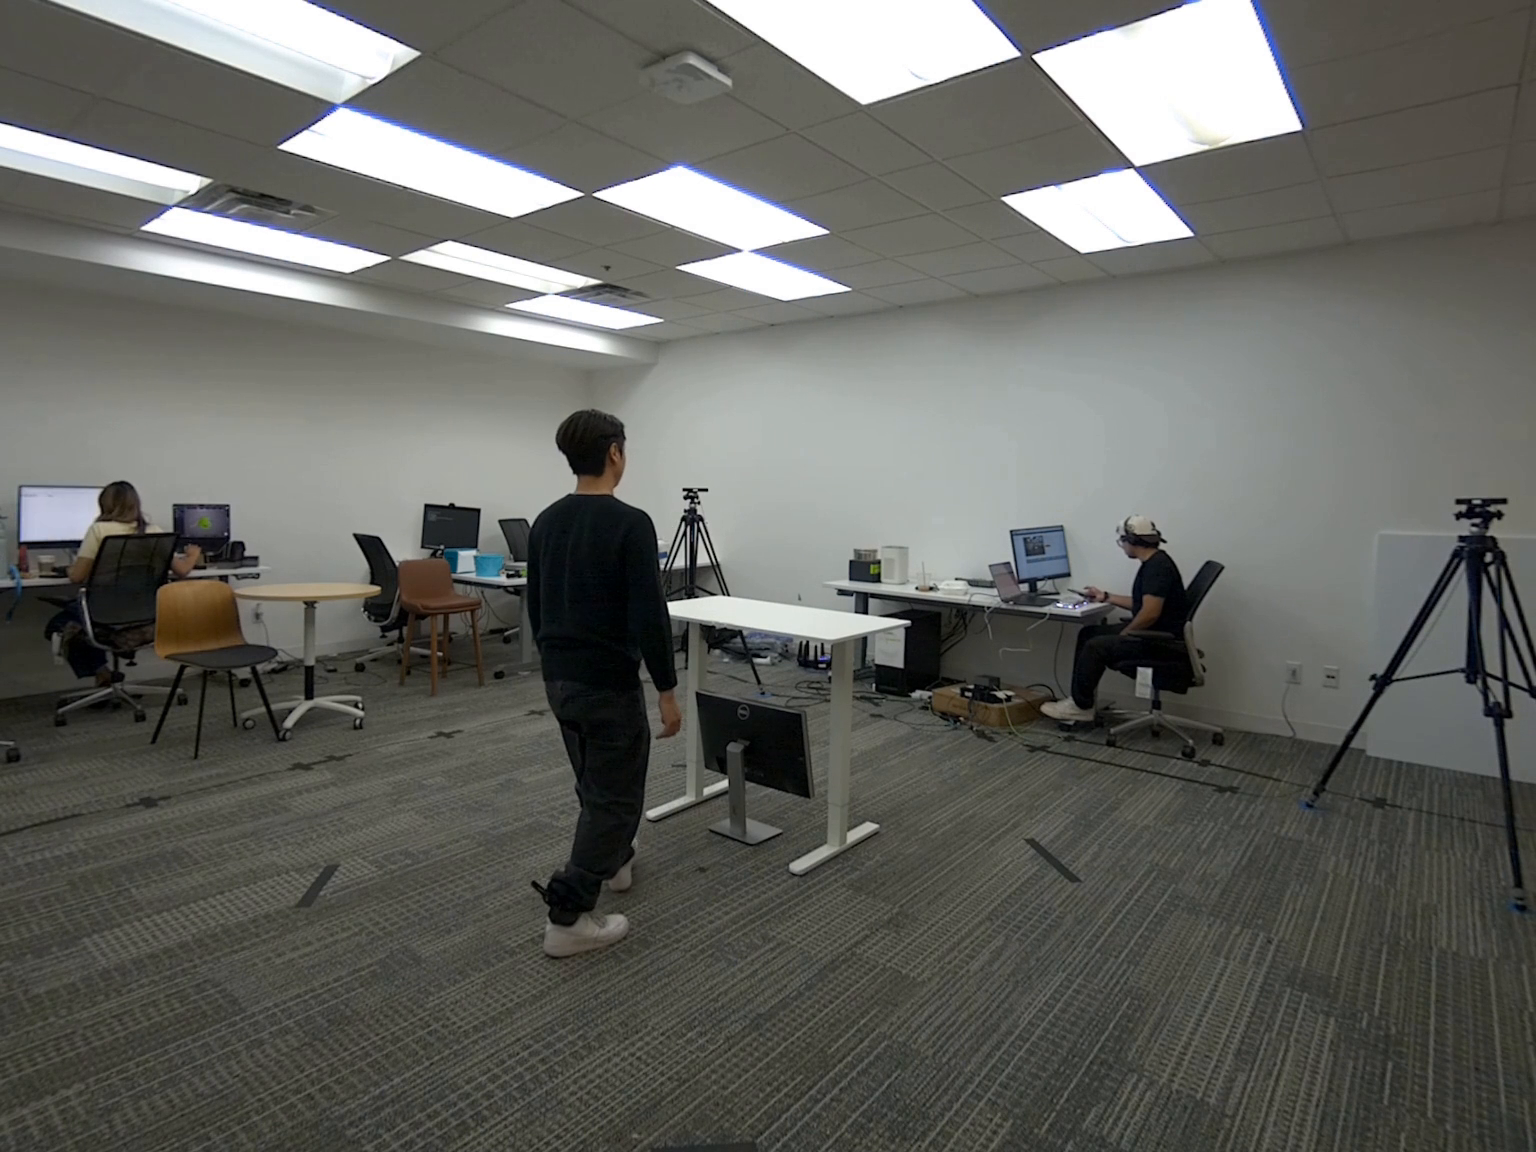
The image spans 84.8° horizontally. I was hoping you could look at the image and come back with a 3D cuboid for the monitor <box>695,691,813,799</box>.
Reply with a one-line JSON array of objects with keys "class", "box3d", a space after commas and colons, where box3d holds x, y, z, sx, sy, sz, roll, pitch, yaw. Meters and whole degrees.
[{"class": "monitor", "box3d": [-0.095, 0.763, 3.456, 0.547, 0.517, 0.168, 3, -3, 39]}]
